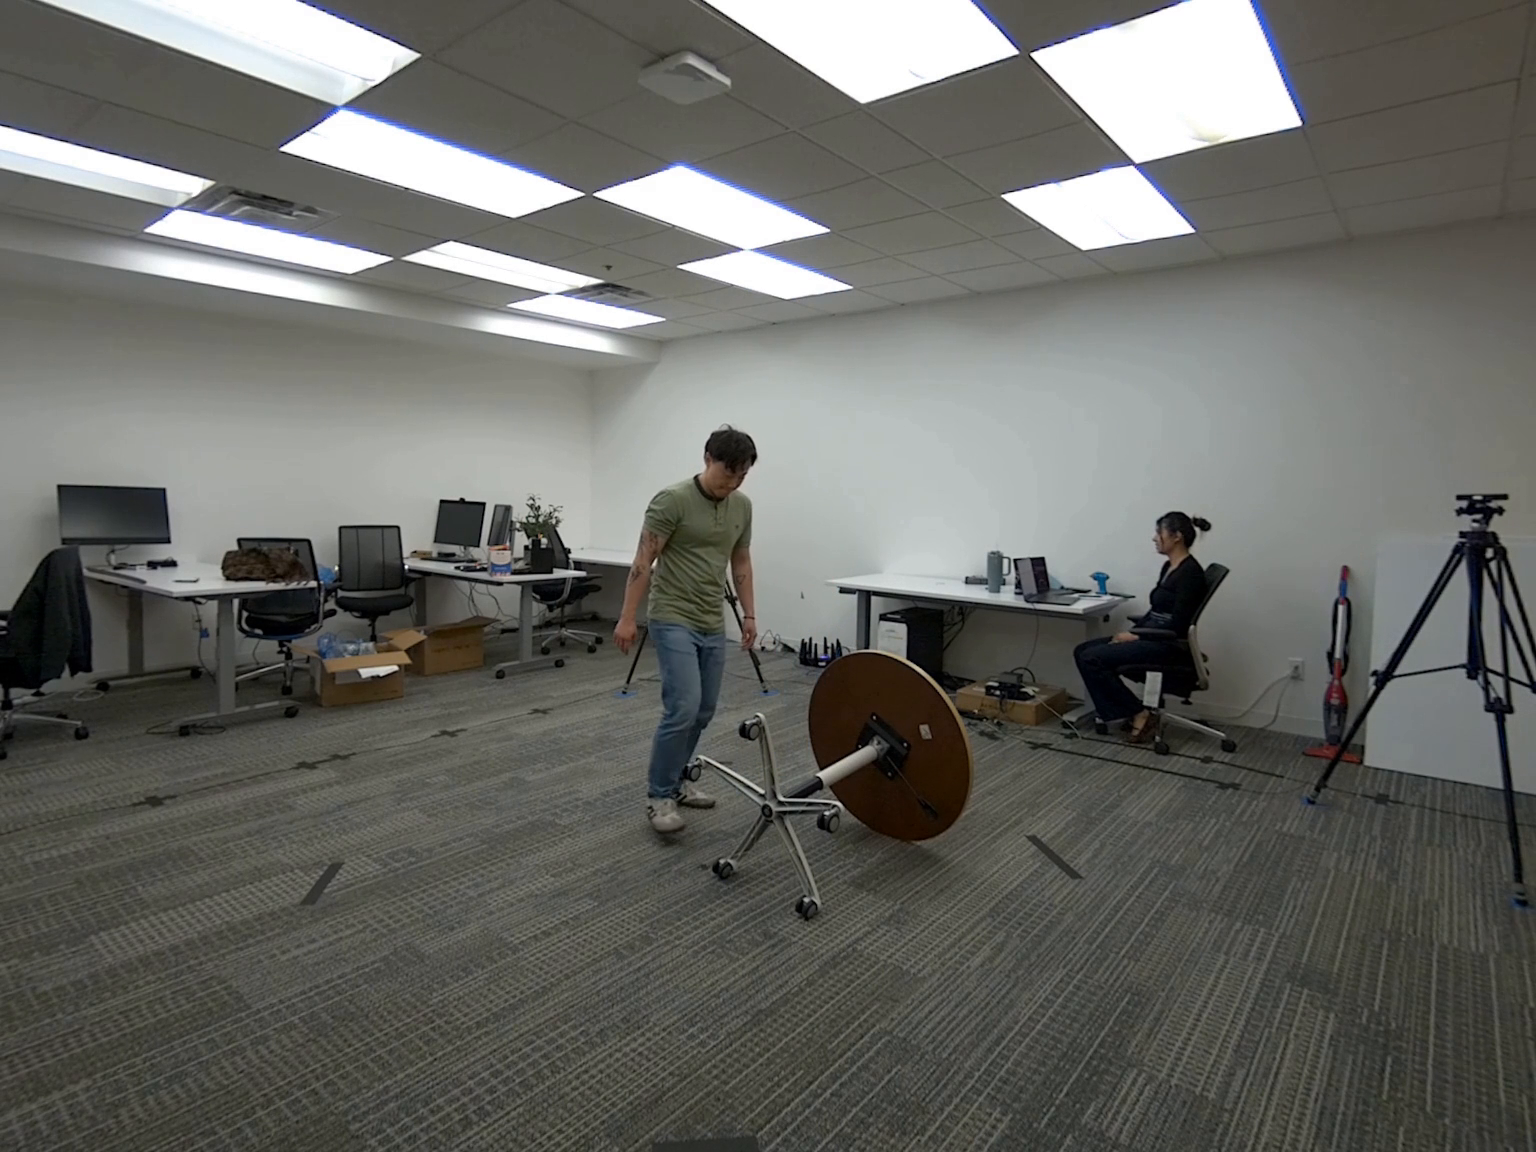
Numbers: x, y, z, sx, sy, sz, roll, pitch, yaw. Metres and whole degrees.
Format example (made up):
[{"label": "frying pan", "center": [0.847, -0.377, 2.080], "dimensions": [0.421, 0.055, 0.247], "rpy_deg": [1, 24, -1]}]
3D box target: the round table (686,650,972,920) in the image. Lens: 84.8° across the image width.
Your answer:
[{"label": "round table", "center": [0.194, 0.738, 3.123], "dimensions": [0.790, 0.757, 0.775], "rpy_deg": [5, 13, 44]}]
